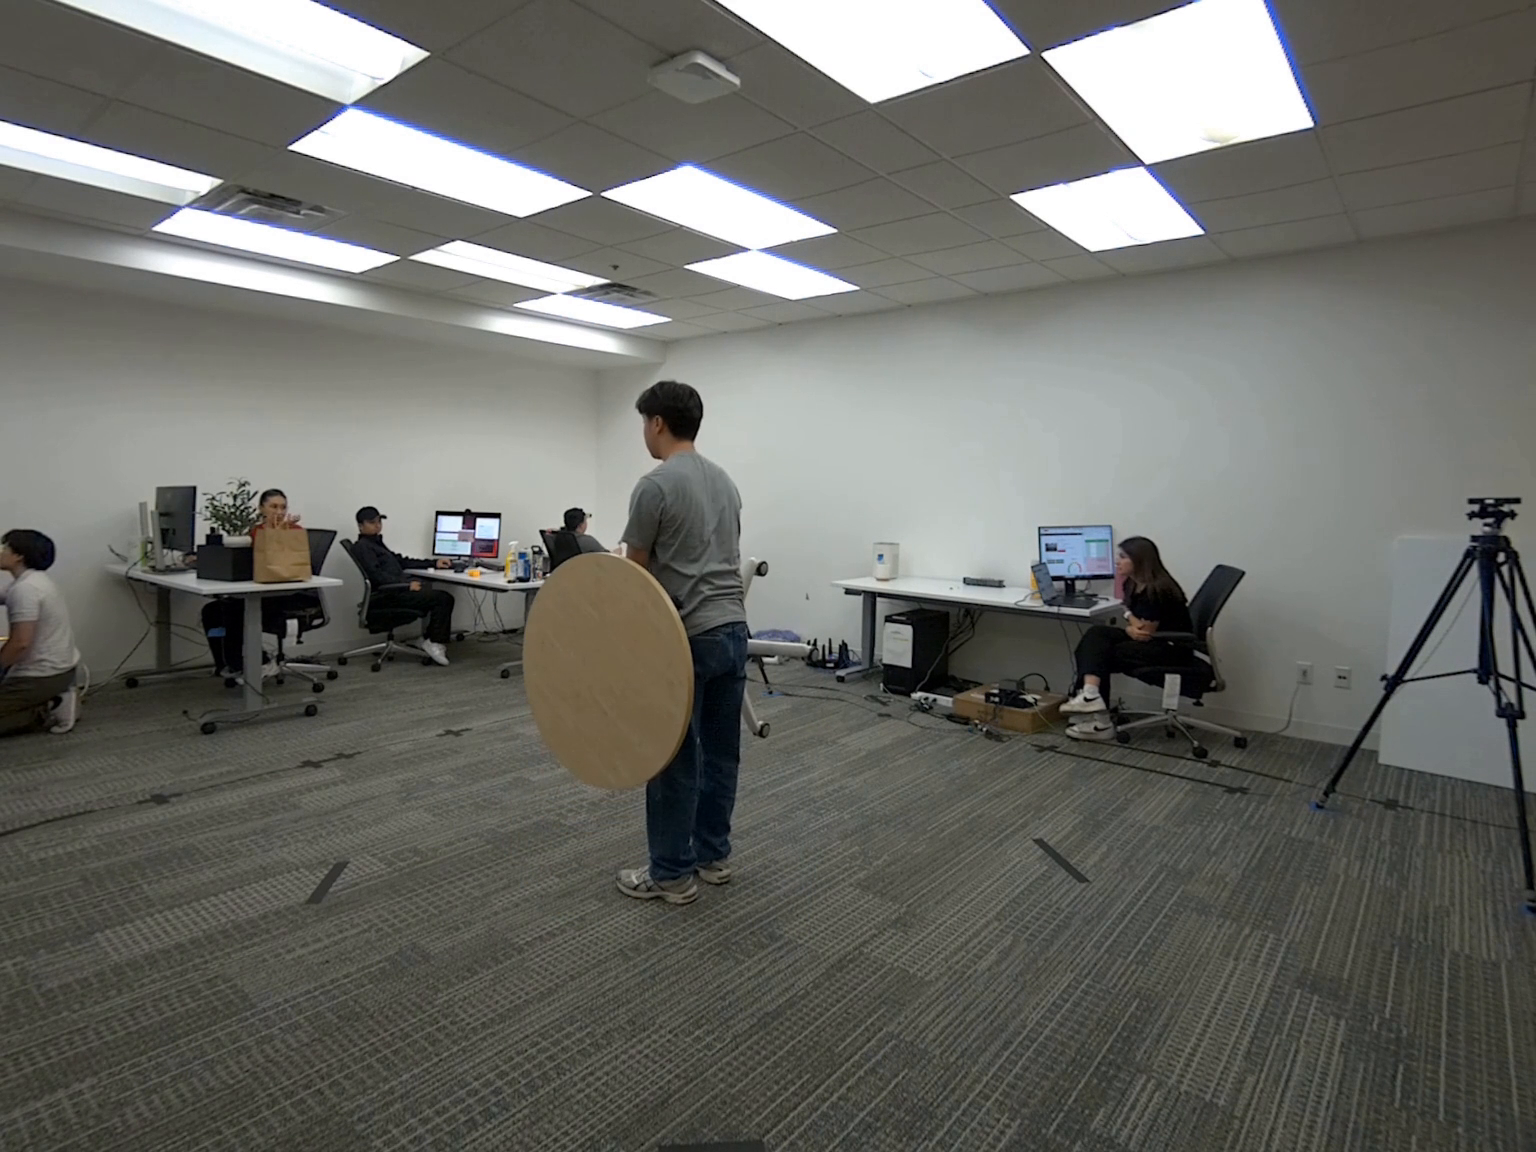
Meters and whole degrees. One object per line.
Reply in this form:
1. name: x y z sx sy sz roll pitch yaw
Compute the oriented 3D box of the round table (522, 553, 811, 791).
1. round table: -0.343 0.296 3.076 0.789 0.762 0.771 4 5 36
